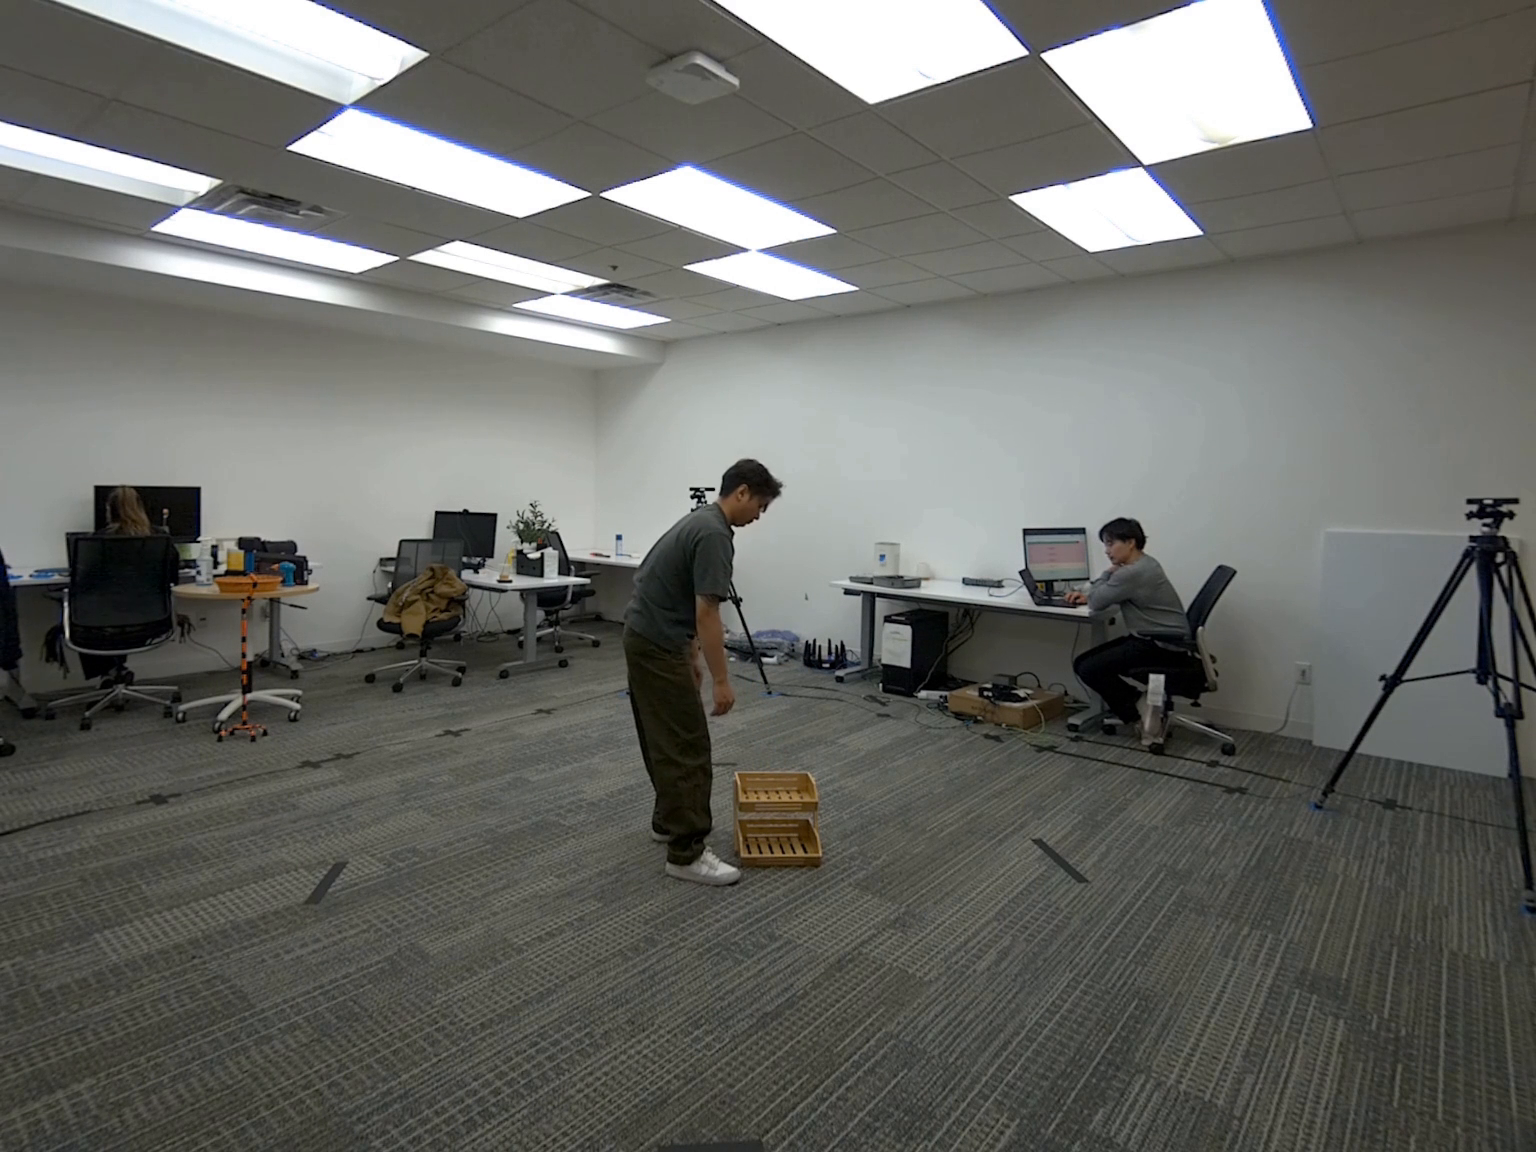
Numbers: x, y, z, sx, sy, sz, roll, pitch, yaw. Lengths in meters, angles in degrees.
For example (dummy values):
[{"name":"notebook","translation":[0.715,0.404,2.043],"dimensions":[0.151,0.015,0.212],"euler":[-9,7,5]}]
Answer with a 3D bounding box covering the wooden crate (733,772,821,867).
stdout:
[{"name":"wooden crate","translation":[0.031,0.921,3.255],"dimensions":[0.322,0.272,0.305],"euler":[1,4,-7]}]
